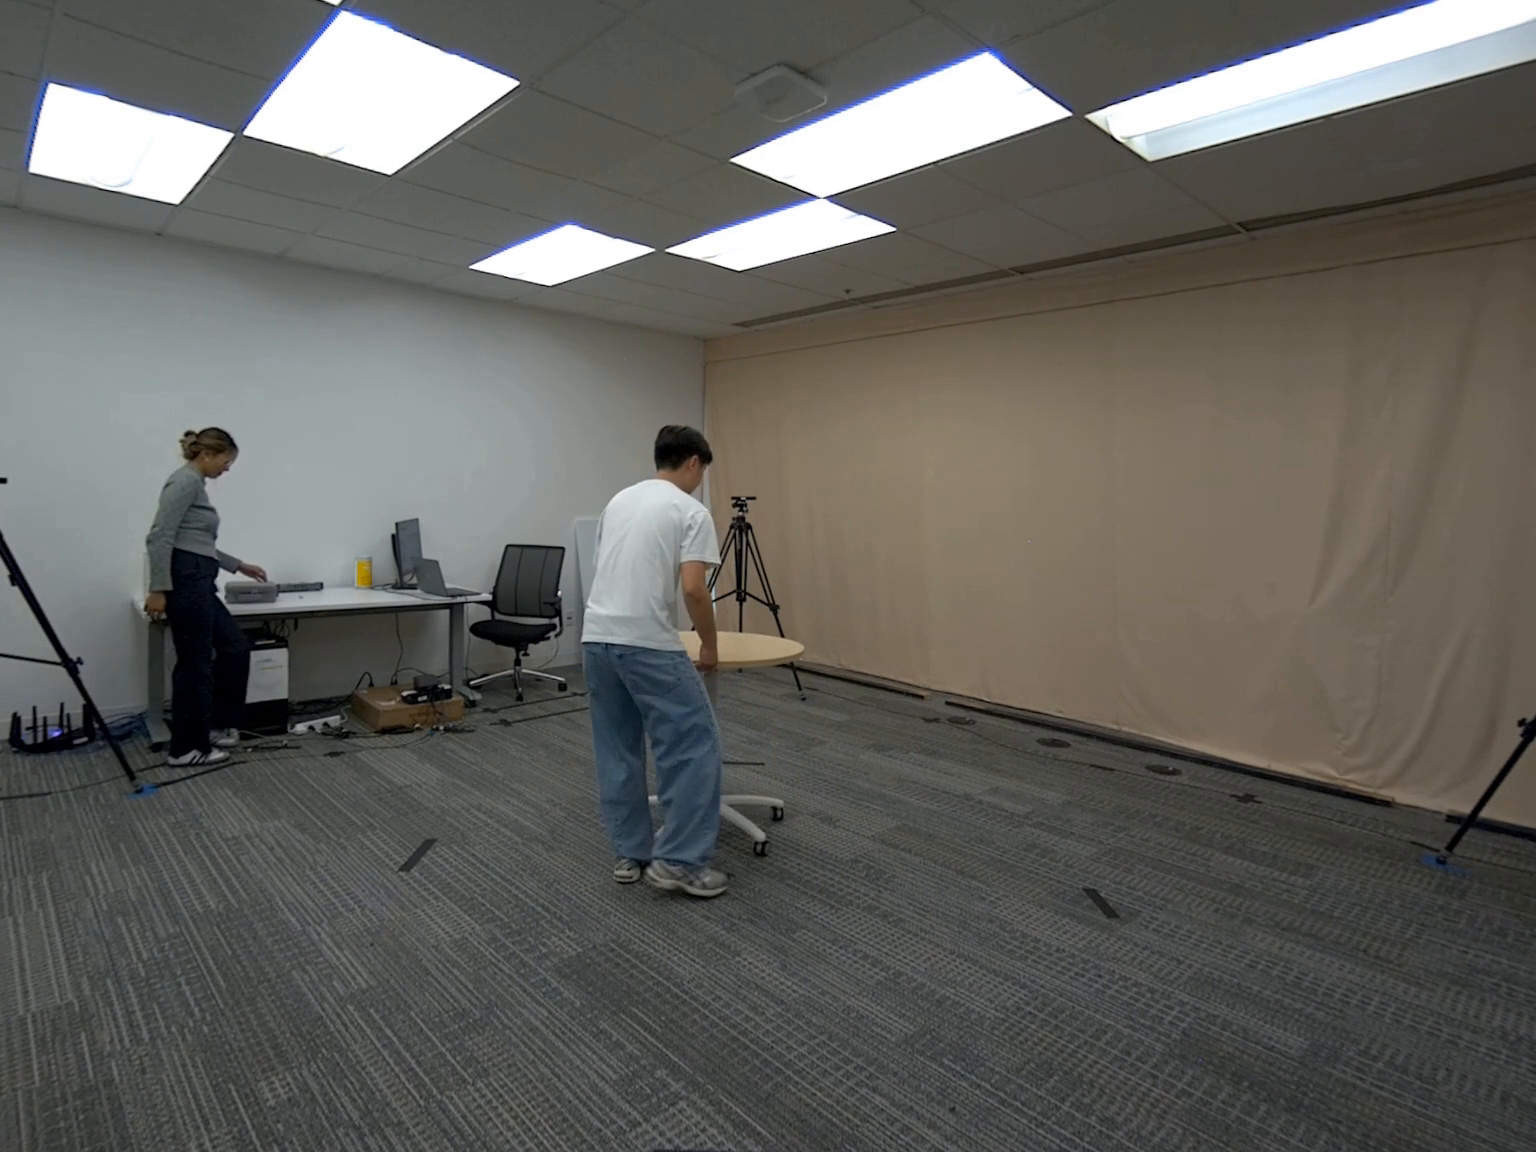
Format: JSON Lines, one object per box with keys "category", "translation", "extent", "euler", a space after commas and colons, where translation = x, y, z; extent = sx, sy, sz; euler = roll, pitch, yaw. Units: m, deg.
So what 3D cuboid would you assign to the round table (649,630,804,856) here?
{"category": "round table", "translation": [-0.247, 0.673, 3.528], "extent": [0.784, 0.784, 0.788], "euler": [2, 4, -1]}
